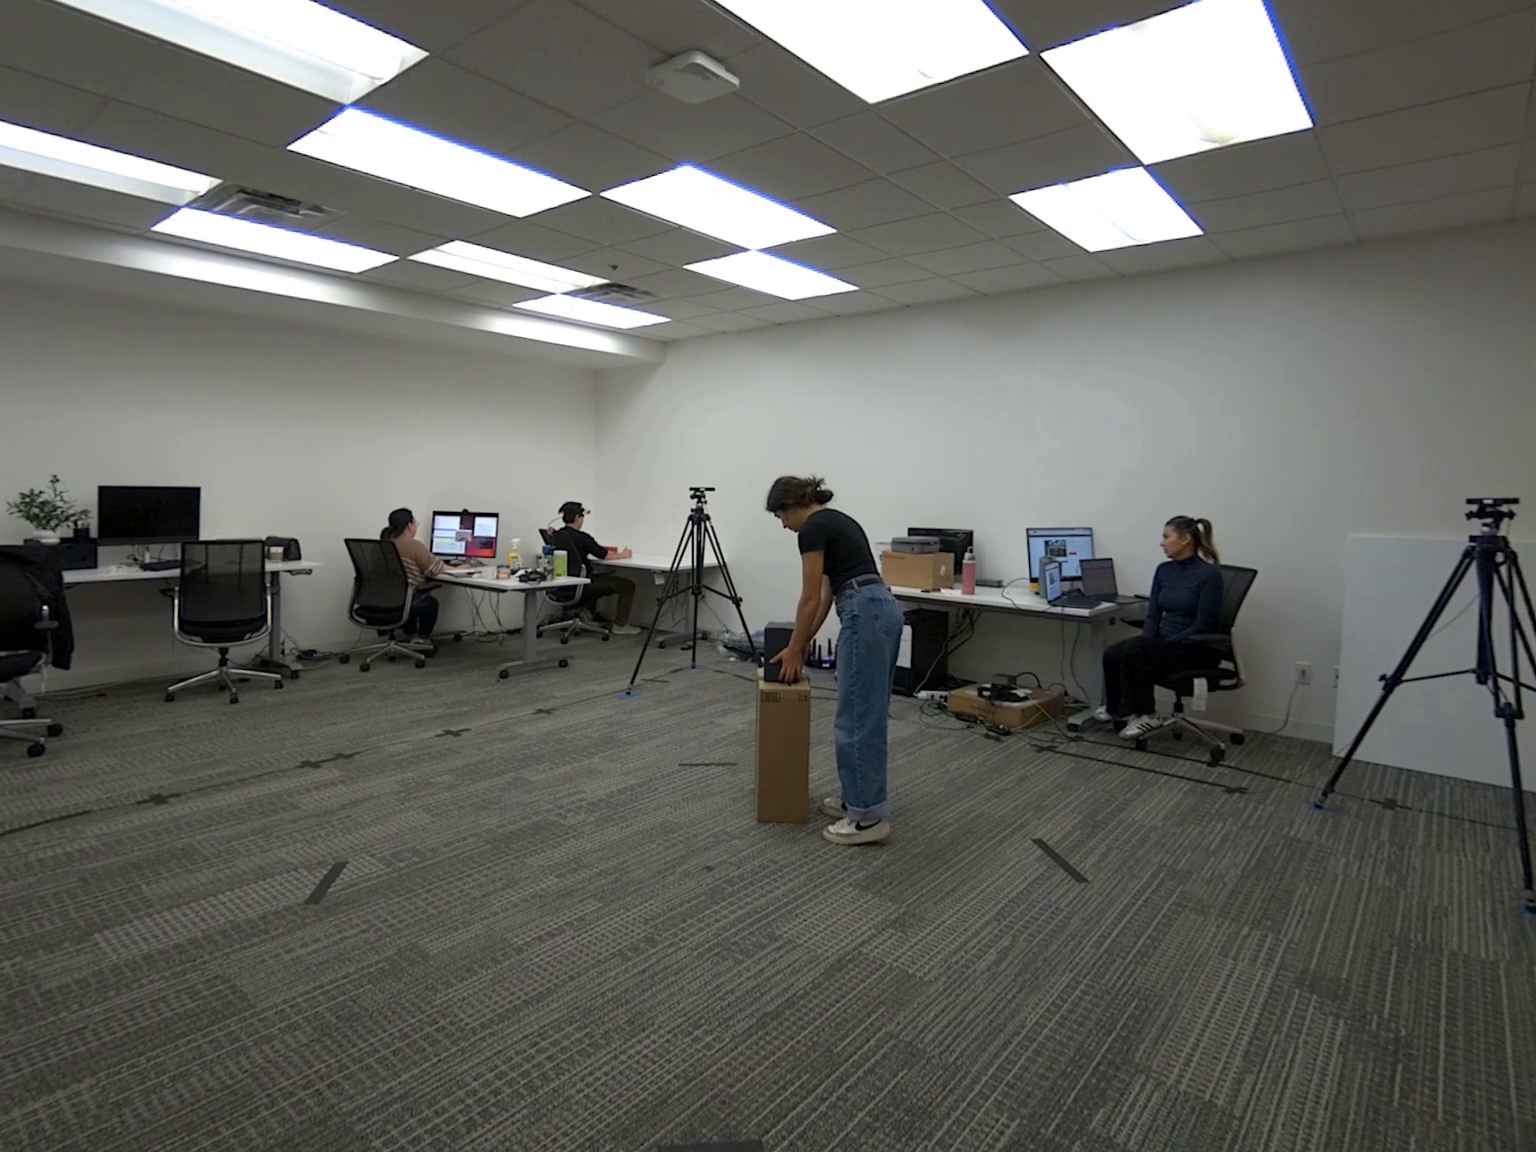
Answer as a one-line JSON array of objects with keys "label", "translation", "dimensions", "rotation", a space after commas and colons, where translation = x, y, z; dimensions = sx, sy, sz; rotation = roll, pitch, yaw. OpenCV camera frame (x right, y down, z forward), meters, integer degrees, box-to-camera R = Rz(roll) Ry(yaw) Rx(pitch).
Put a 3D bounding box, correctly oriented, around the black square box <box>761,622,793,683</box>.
[{"label": "black square box", "translation": [0.056, 0.320, 3.750], "dimensions": [0.157, 0.227, 0.216], "rotation": [3, 3, 3]}]
